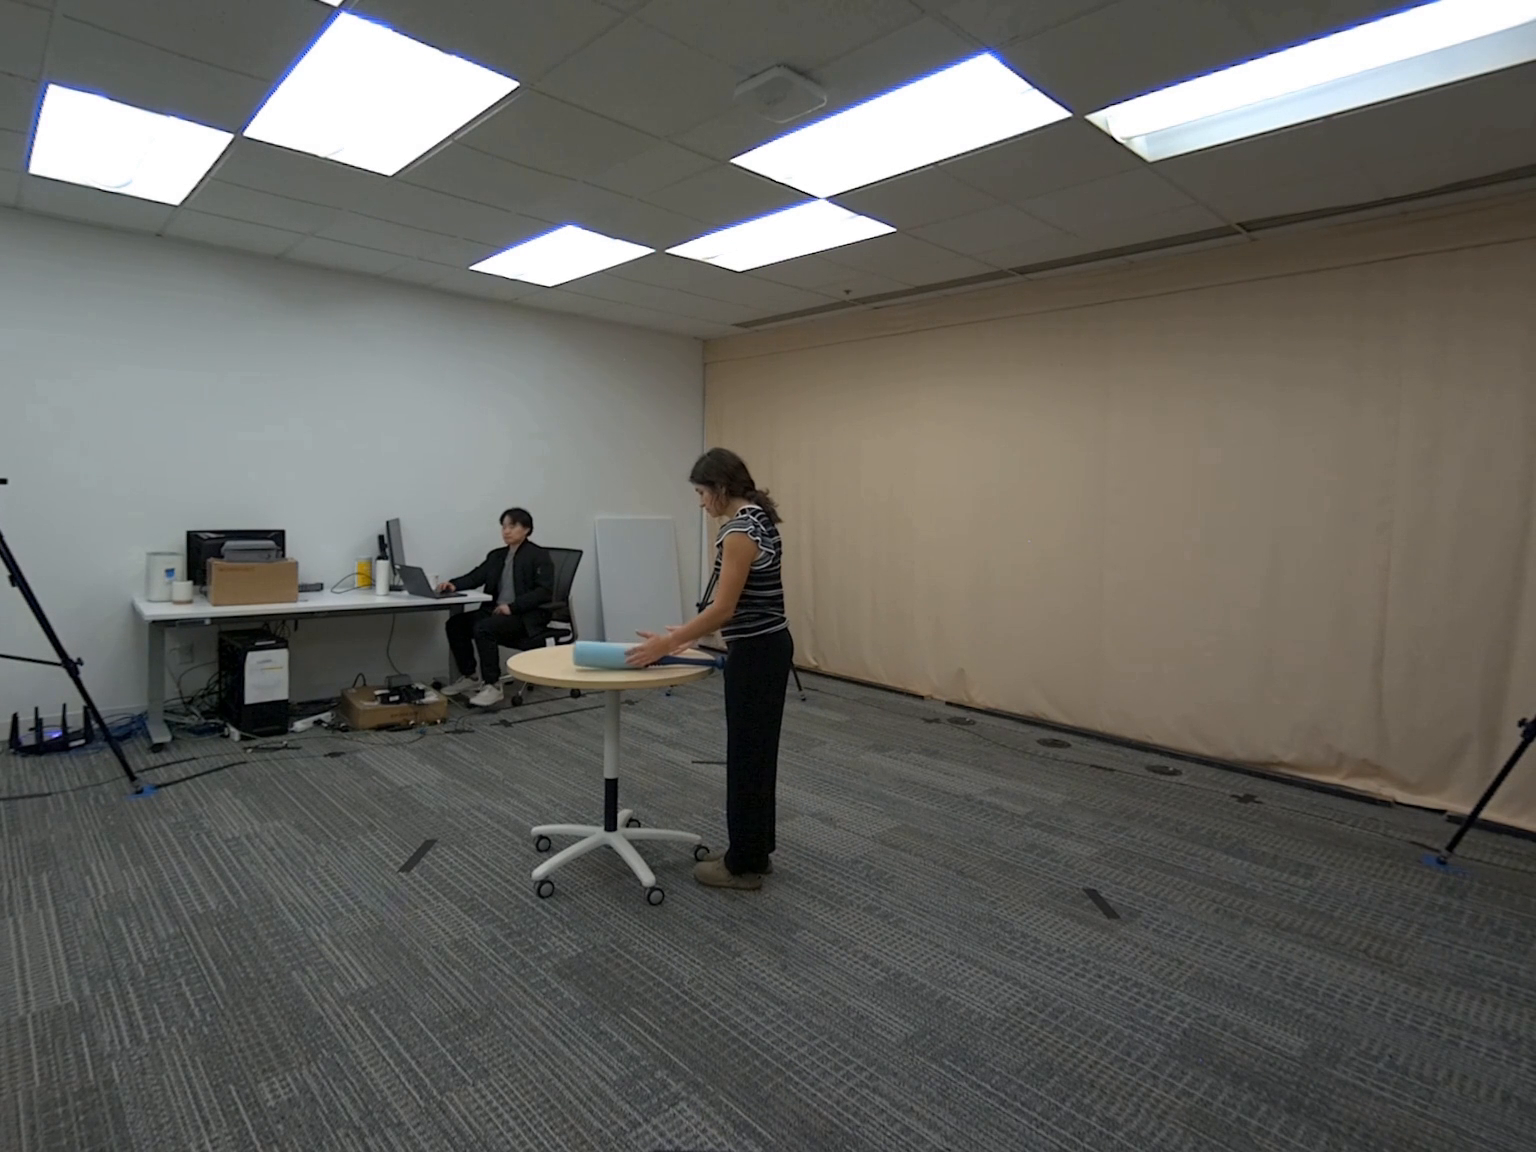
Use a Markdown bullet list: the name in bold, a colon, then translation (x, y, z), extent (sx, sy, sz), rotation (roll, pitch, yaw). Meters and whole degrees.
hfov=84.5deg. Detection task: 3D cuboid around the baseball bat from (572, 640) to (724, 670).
- **baseball bat**: translation (-0.417, 0.293, 2.987), extent (0.536, 0.089, 0.090), rotation (6, 3, -14)
